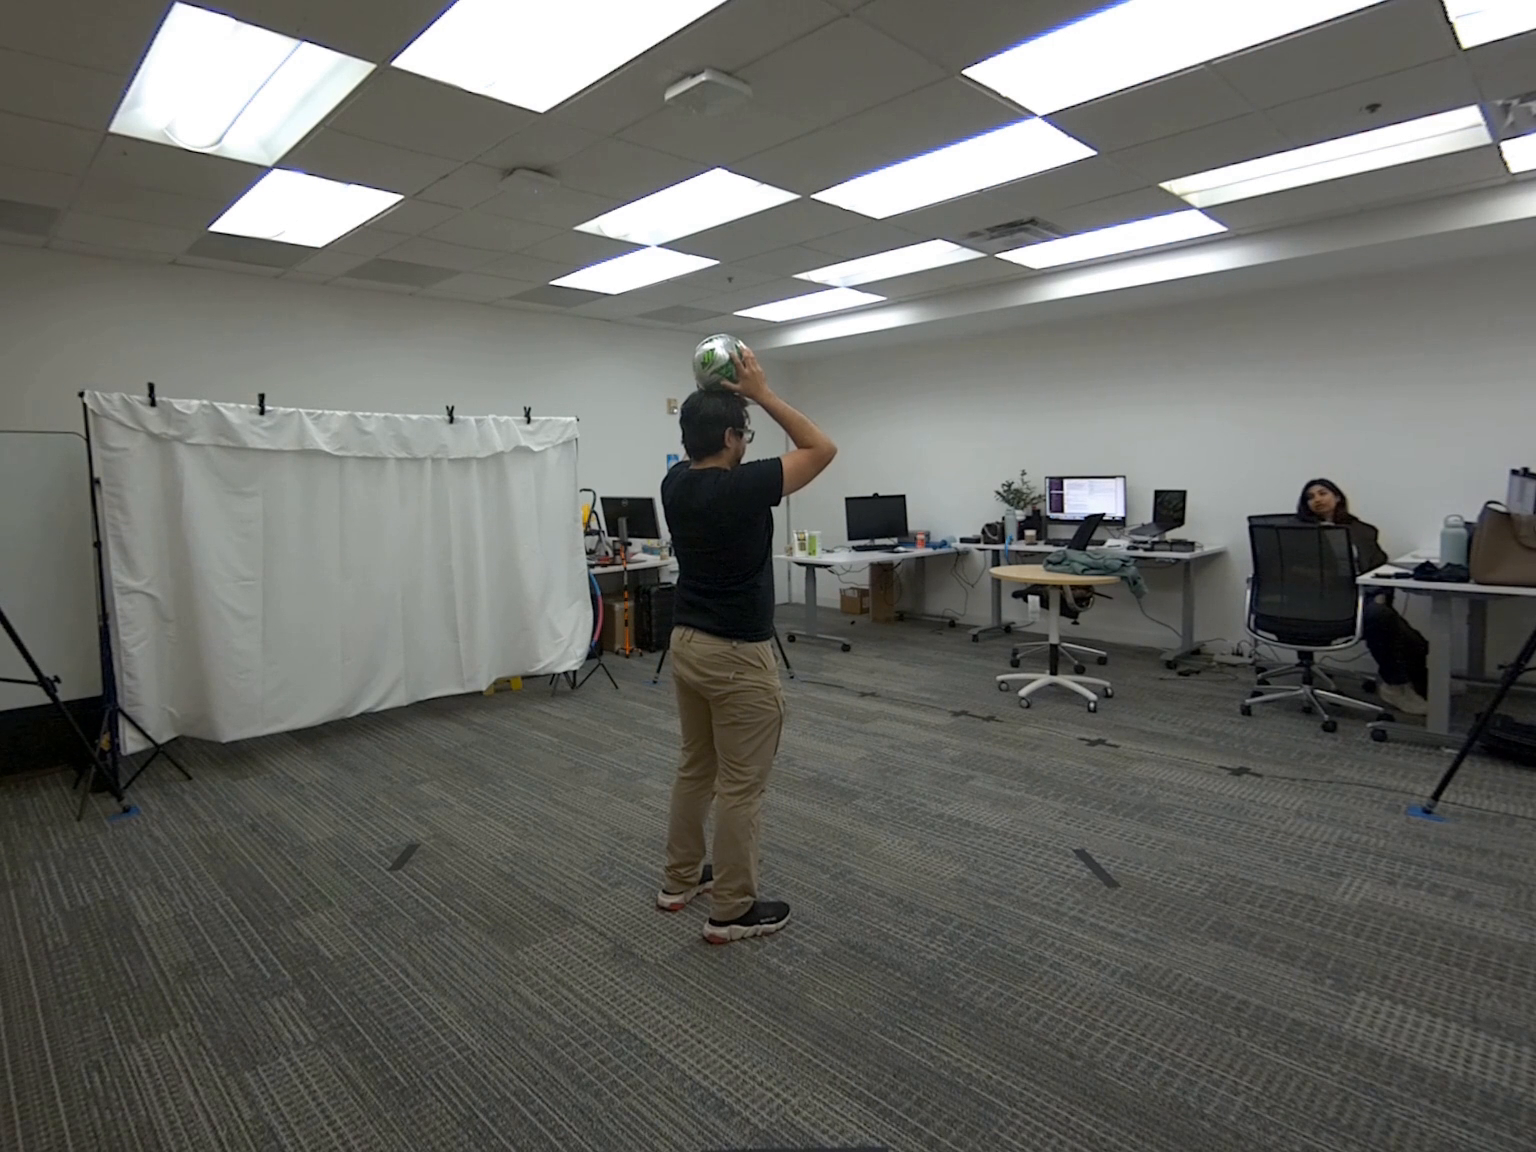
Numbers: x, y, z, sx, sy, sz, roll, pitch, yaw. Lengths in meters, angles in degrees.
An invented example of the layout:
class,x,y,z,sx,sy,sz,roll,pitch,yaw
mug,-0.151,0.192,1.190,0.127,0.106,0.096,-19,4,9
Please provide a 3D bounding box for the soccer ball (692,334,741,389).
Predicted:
class,x,y,z,sx,sy,sz,roll,pitch,yaw
soccer ball,-0.138,-0.644,2.627,0.187,0.187,0.188,-1,5,-2
